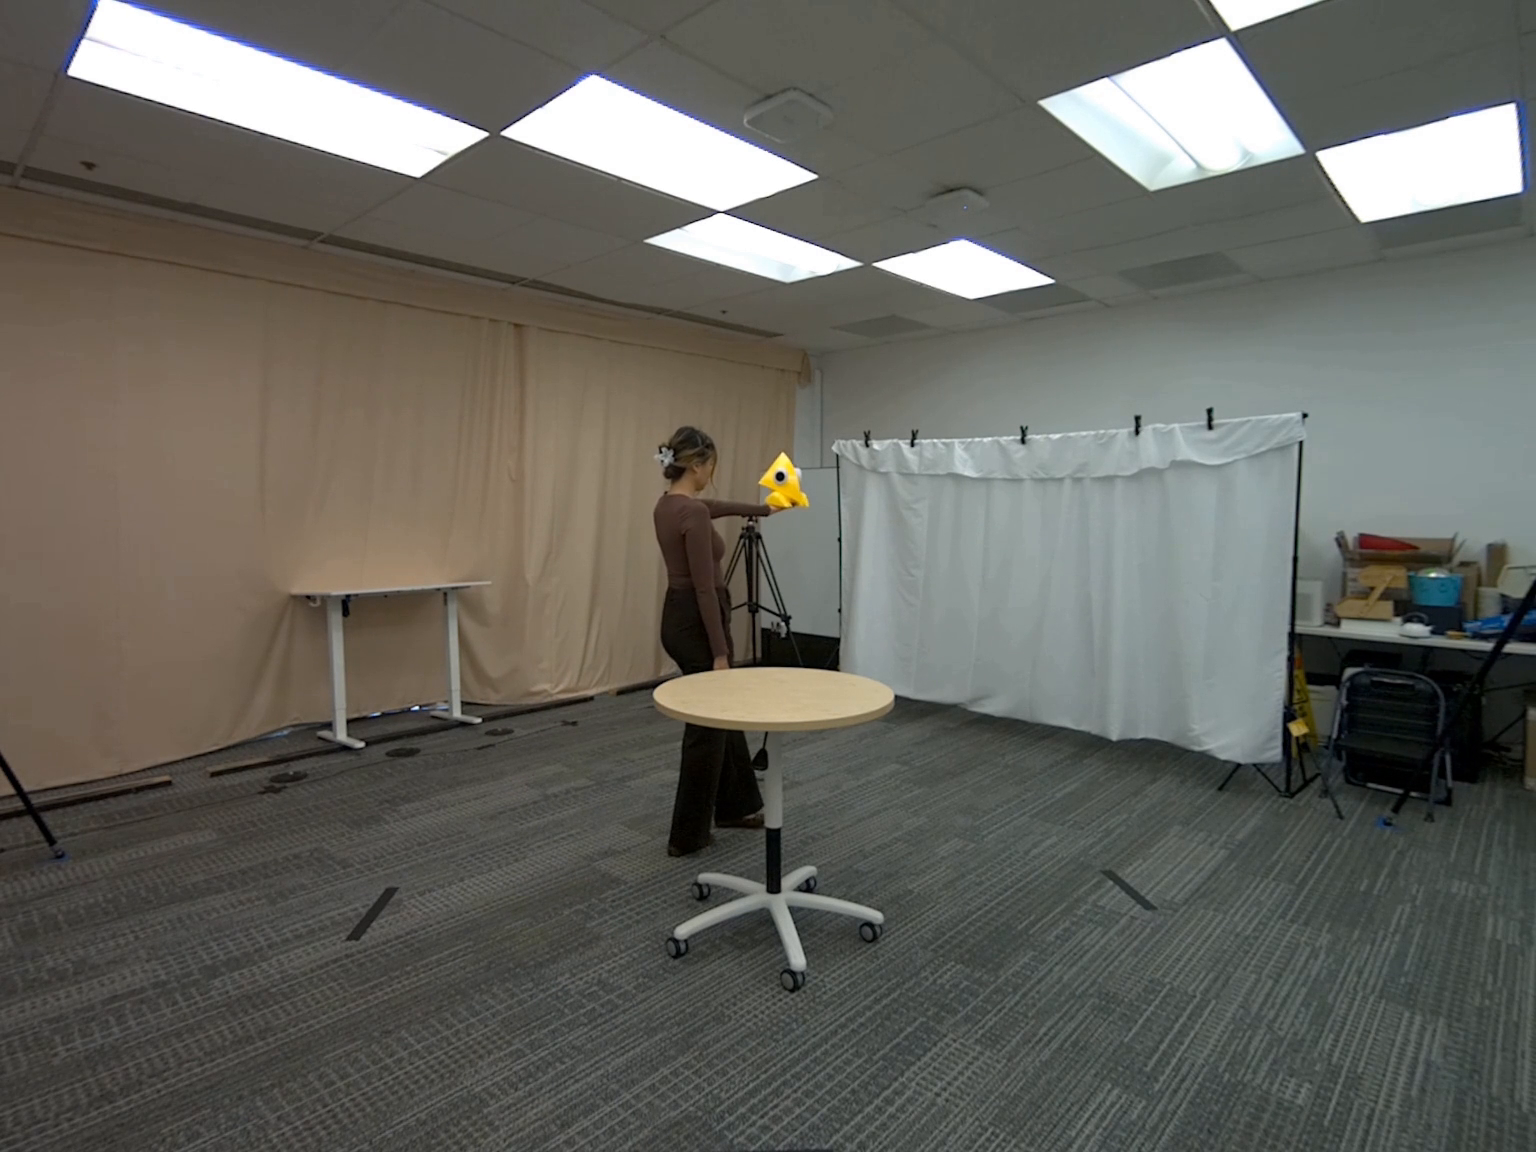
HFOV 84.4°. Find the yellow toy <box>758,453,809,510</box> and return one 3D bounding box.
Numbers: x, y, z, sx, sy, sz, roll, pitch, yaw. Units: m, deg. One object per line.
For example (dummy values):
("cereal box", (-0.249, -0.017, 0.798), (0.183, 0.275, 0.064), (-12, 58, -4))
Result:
("yellow toy", (0.097, -0.451, 3.918), (0.199, 0.229, 0.200), (-4, 17, -40))
